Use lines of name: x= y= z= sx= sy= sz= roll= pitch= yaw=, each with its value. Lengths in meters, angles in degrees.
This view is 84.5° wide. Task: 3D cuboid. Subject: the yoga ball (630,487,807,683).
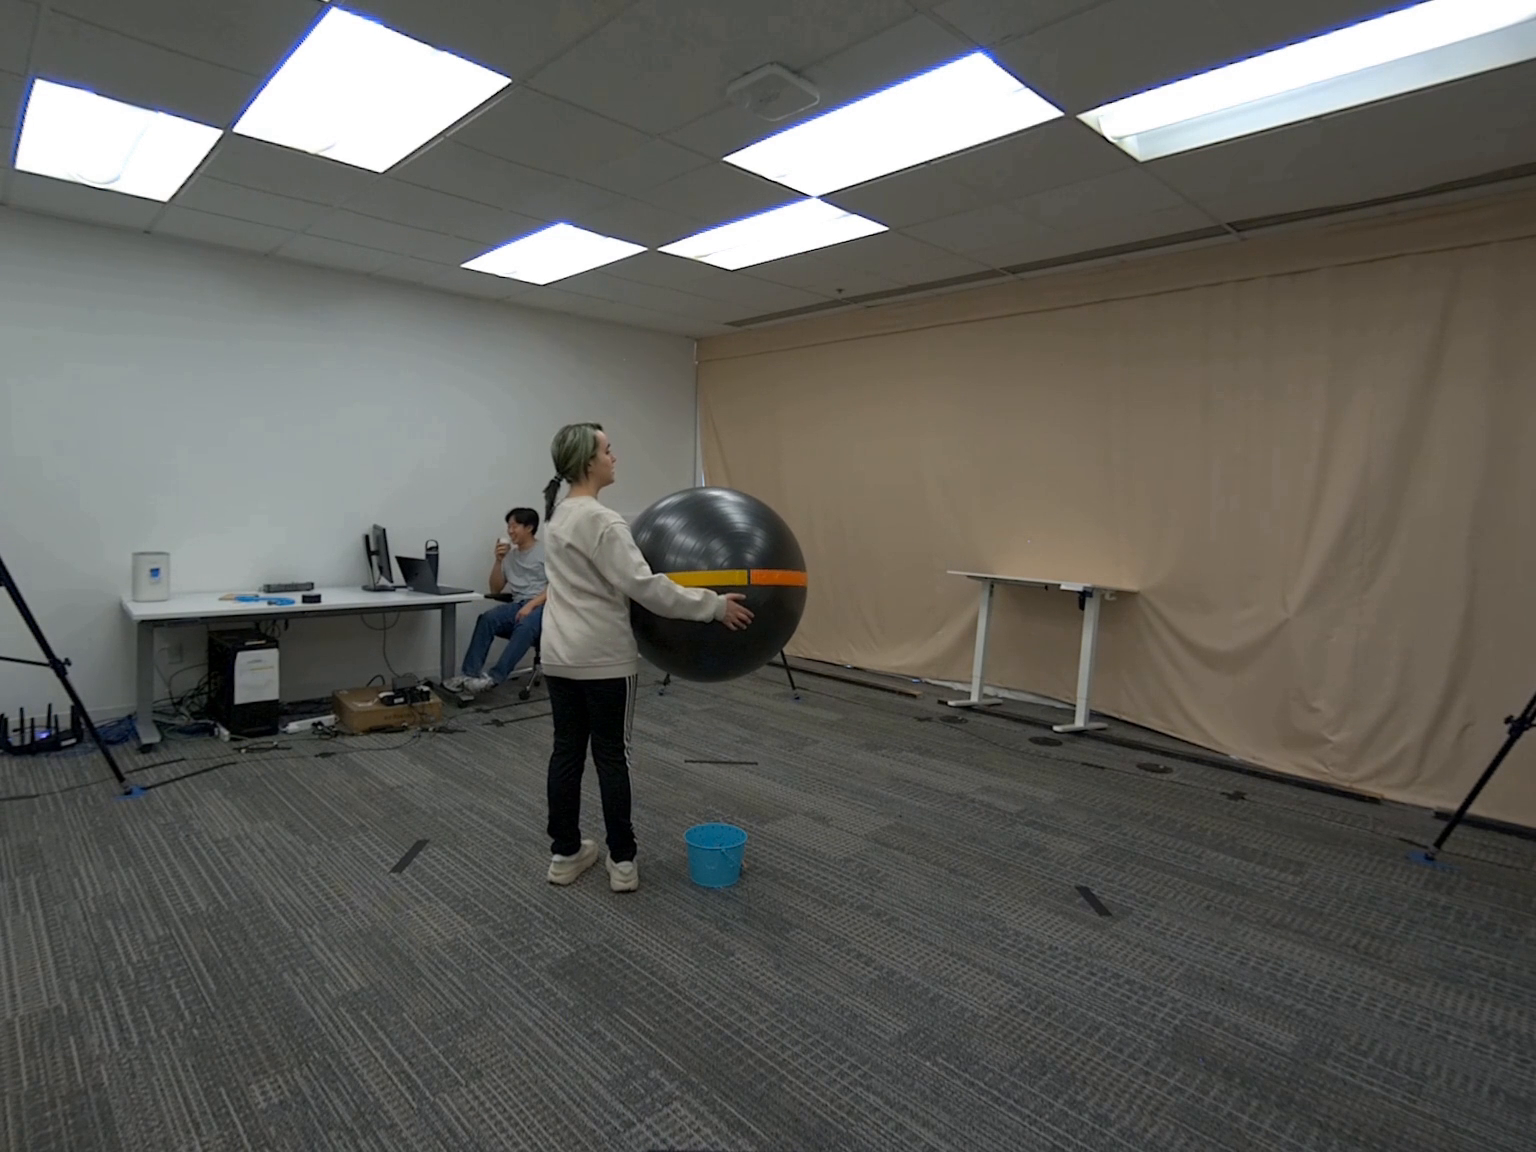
yoga ball: x=-0.231 y=0.036 z=3.274 sx=0.757 sy=0.756 sz=0.761 roll=1 pitch=4 yaw=-1
